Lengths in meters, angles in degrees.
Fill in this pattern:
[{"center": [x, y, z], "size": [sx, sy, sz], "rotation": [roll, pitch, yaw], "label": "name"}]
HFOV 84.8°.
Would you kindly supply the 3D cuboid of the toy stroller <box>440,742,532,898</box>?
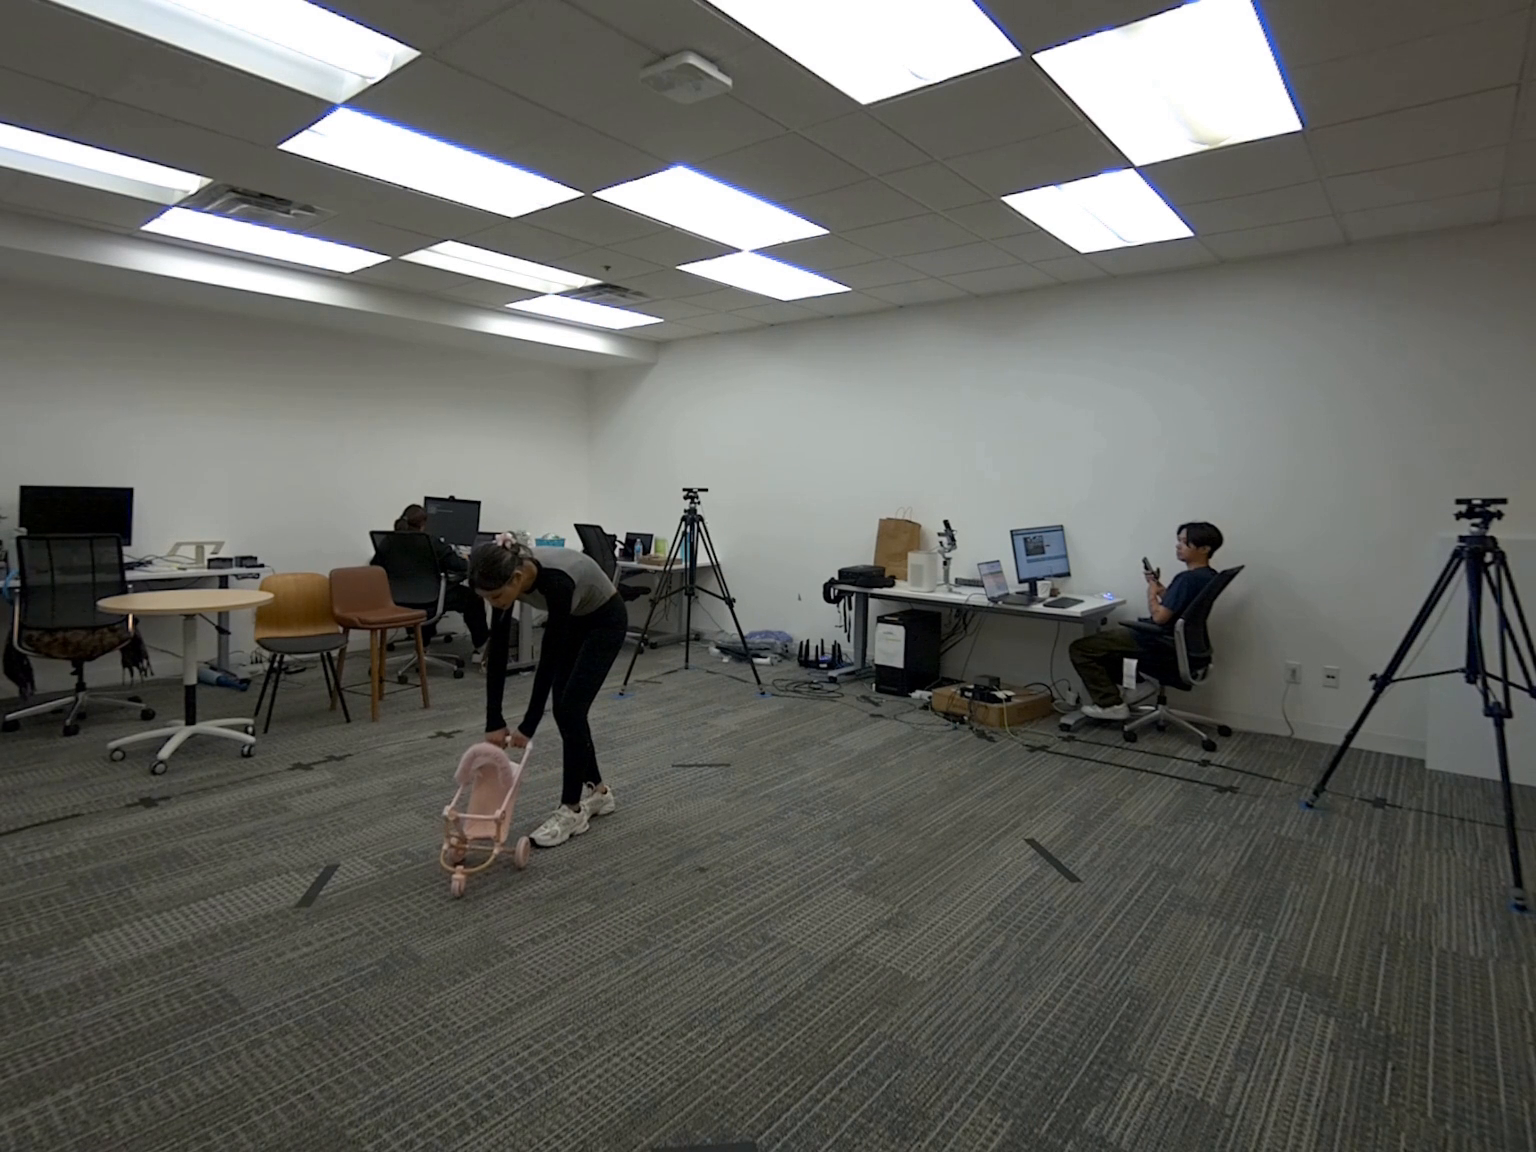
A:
[{"center": [-1.033, 0.837, 3.046], "size": [0.285, 0.541, 0.333], "rotation": [1, -13, 12], "label": "toy stroller"}]
